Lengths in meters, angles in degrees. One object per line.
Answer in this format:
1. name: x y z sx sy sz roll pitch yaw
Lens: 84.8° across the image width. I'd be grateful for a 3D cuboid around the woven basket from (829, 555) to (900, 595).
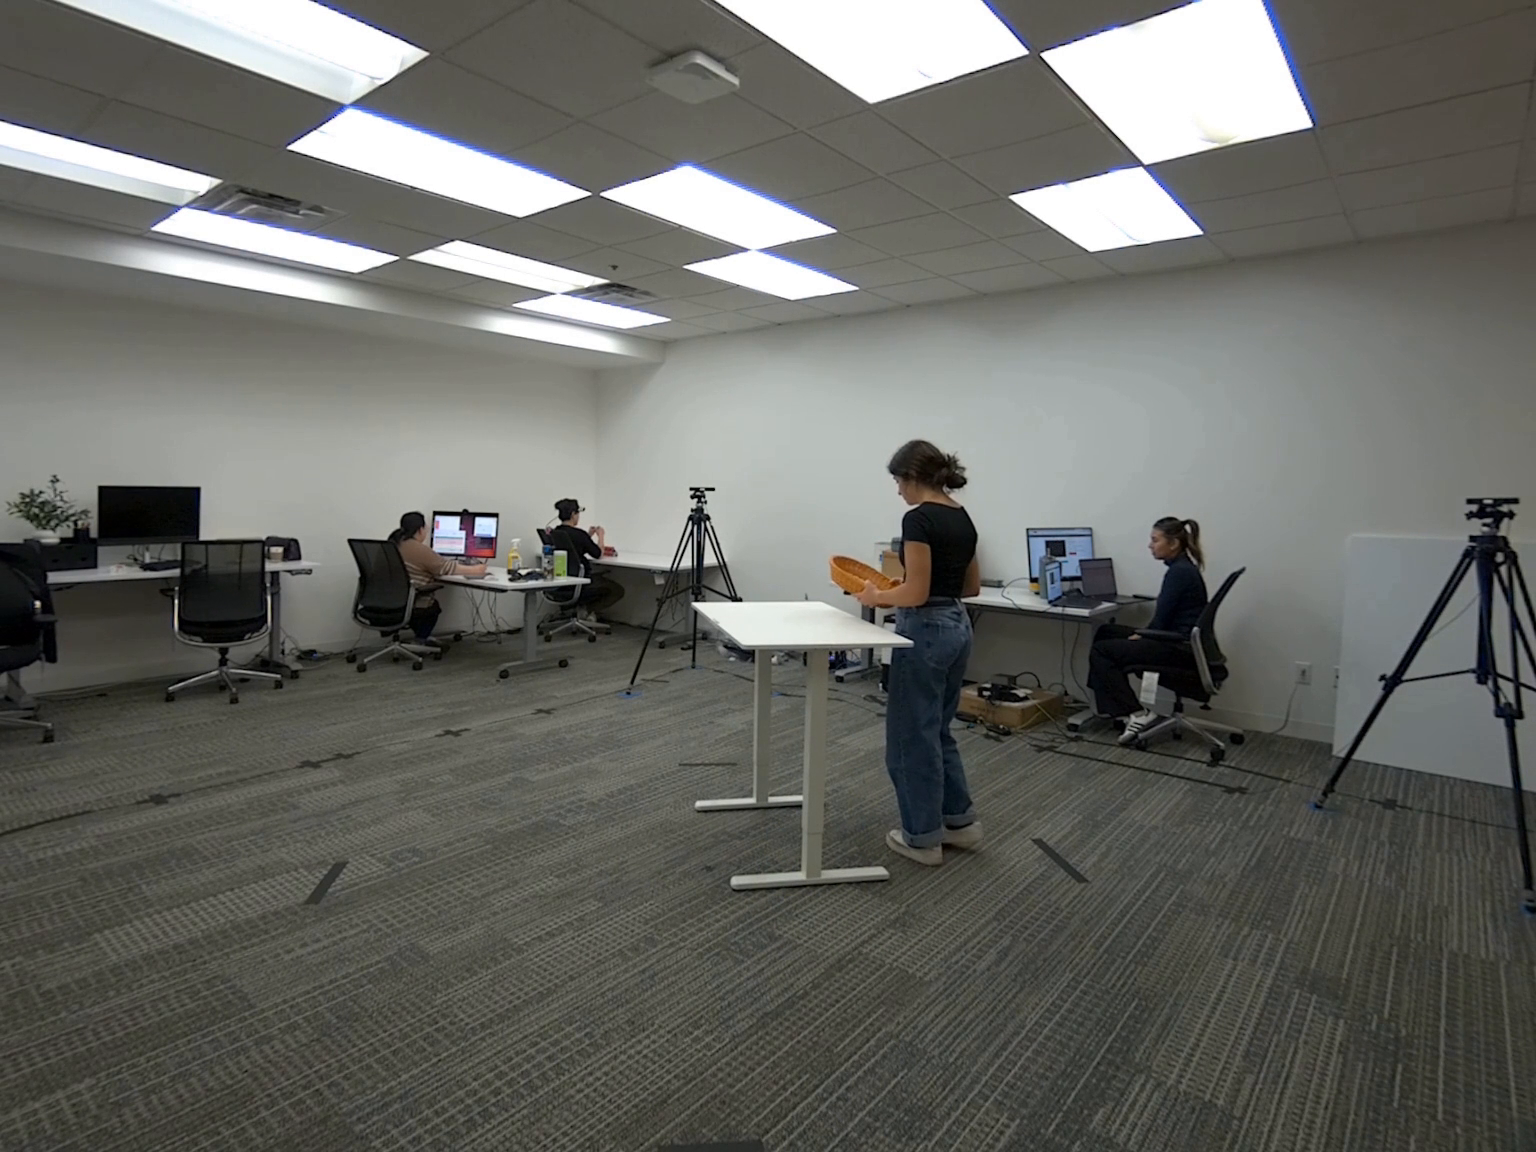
1. woven basket: 0.387 0.026 3.420 0.244 0.073 0.365 0 30 -48
